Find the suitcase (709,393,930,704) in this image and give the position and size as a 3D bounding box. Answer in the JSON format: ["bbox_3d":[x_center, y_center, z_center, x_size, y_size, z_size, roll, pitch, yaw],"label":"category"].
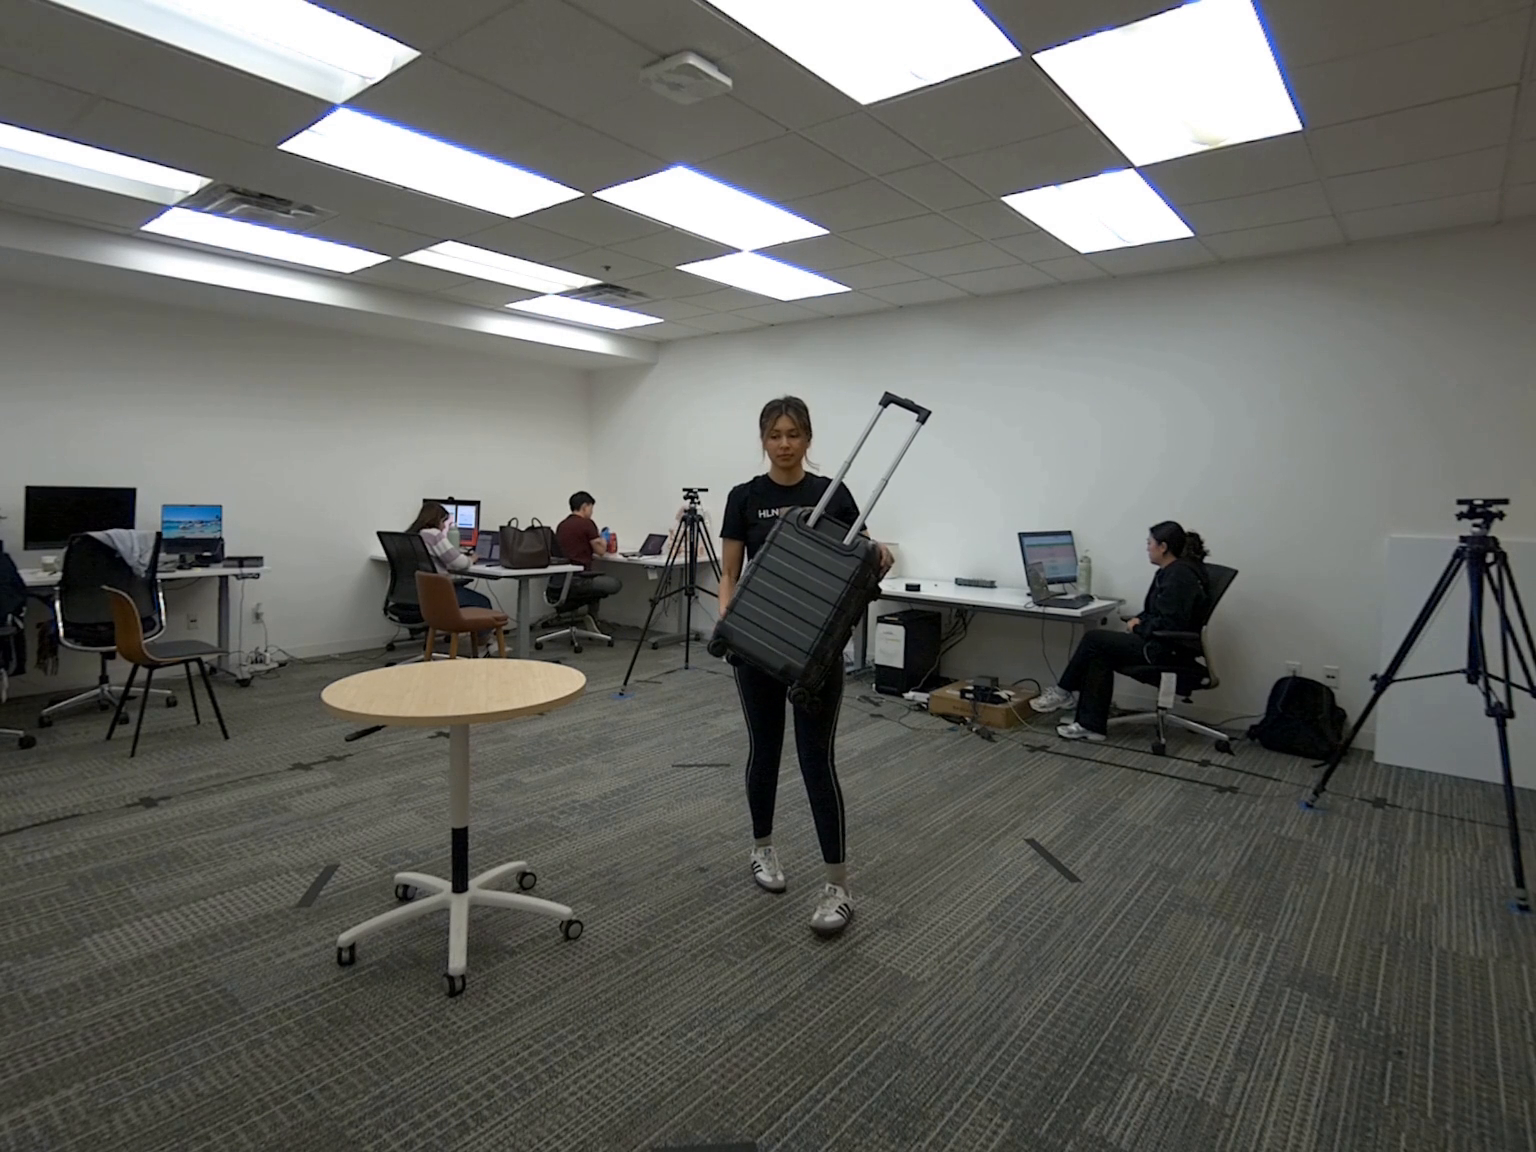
[{"bbox_3d":[0.201,-0.103,2.675,0.396,0.981,0.249,28,-10,22],"label":"suitcase"}]
